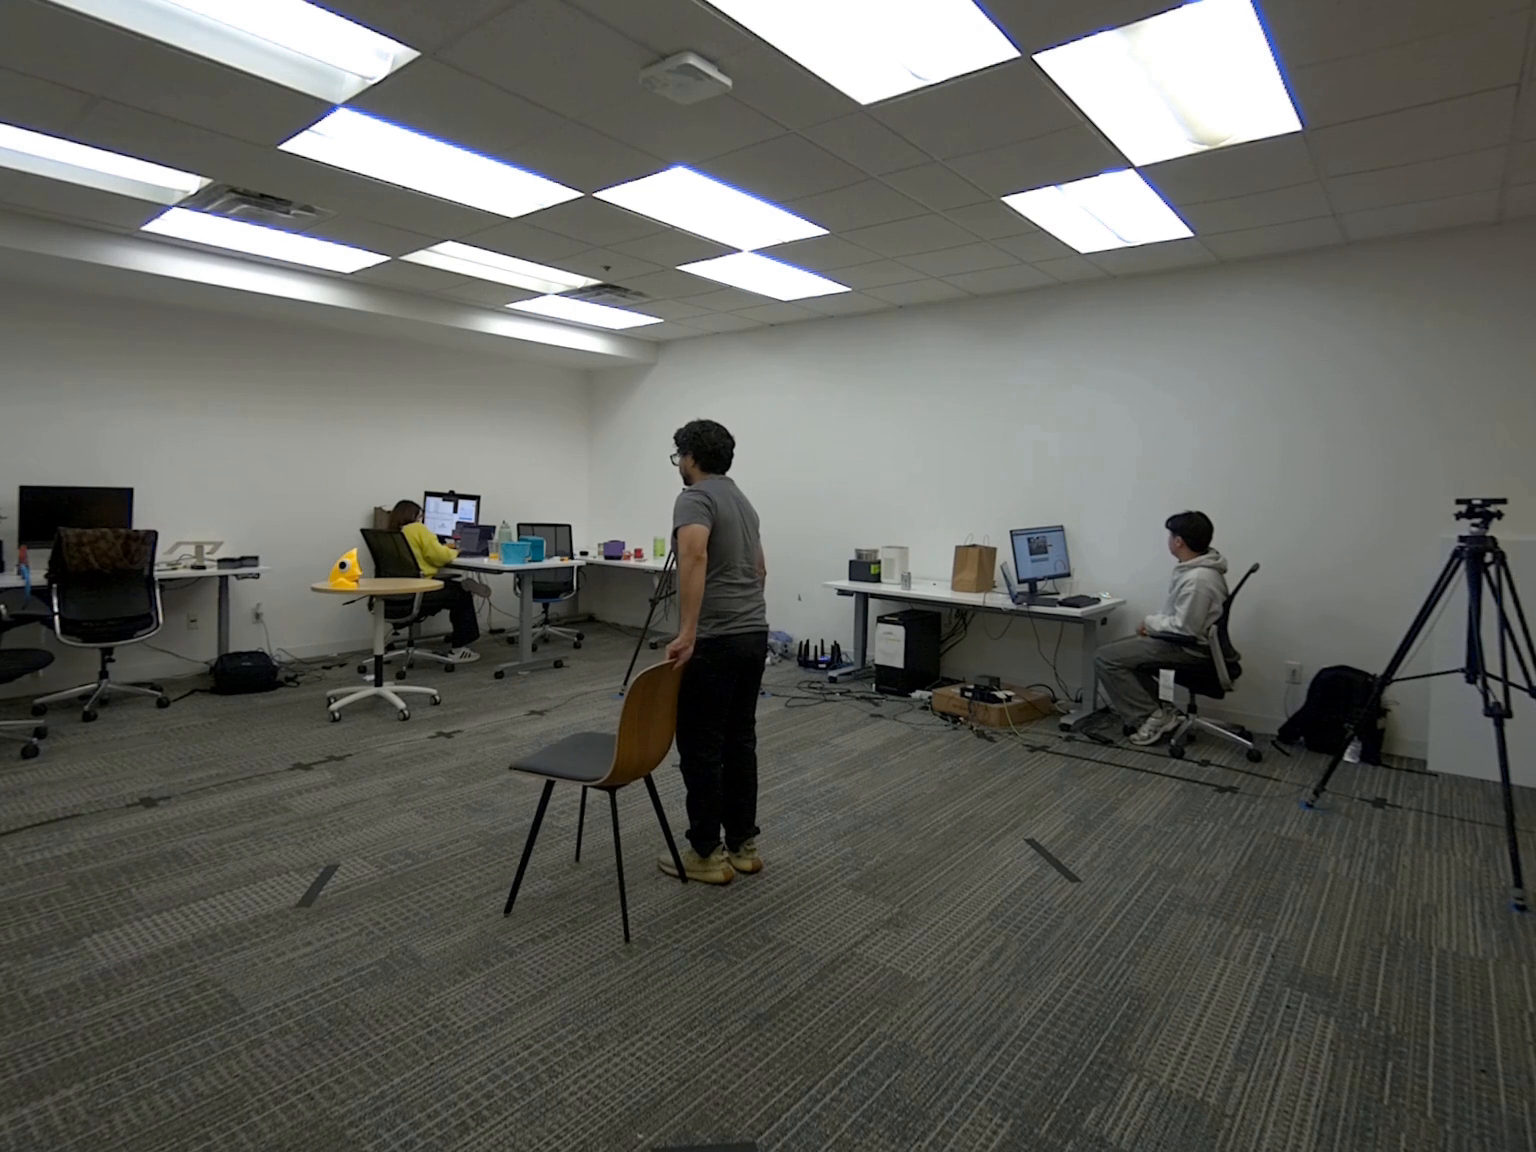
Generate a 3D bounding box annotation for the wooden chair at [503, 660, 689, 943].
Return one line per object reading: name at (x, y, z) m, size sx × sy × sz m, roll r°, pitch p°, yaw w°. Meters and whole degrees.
wooden chair at (-0.580, 0.660, 2.849) m, size 0.535 × 0.874 × 0.469 m, roll 7°, pitch 5°, yaw 20°
